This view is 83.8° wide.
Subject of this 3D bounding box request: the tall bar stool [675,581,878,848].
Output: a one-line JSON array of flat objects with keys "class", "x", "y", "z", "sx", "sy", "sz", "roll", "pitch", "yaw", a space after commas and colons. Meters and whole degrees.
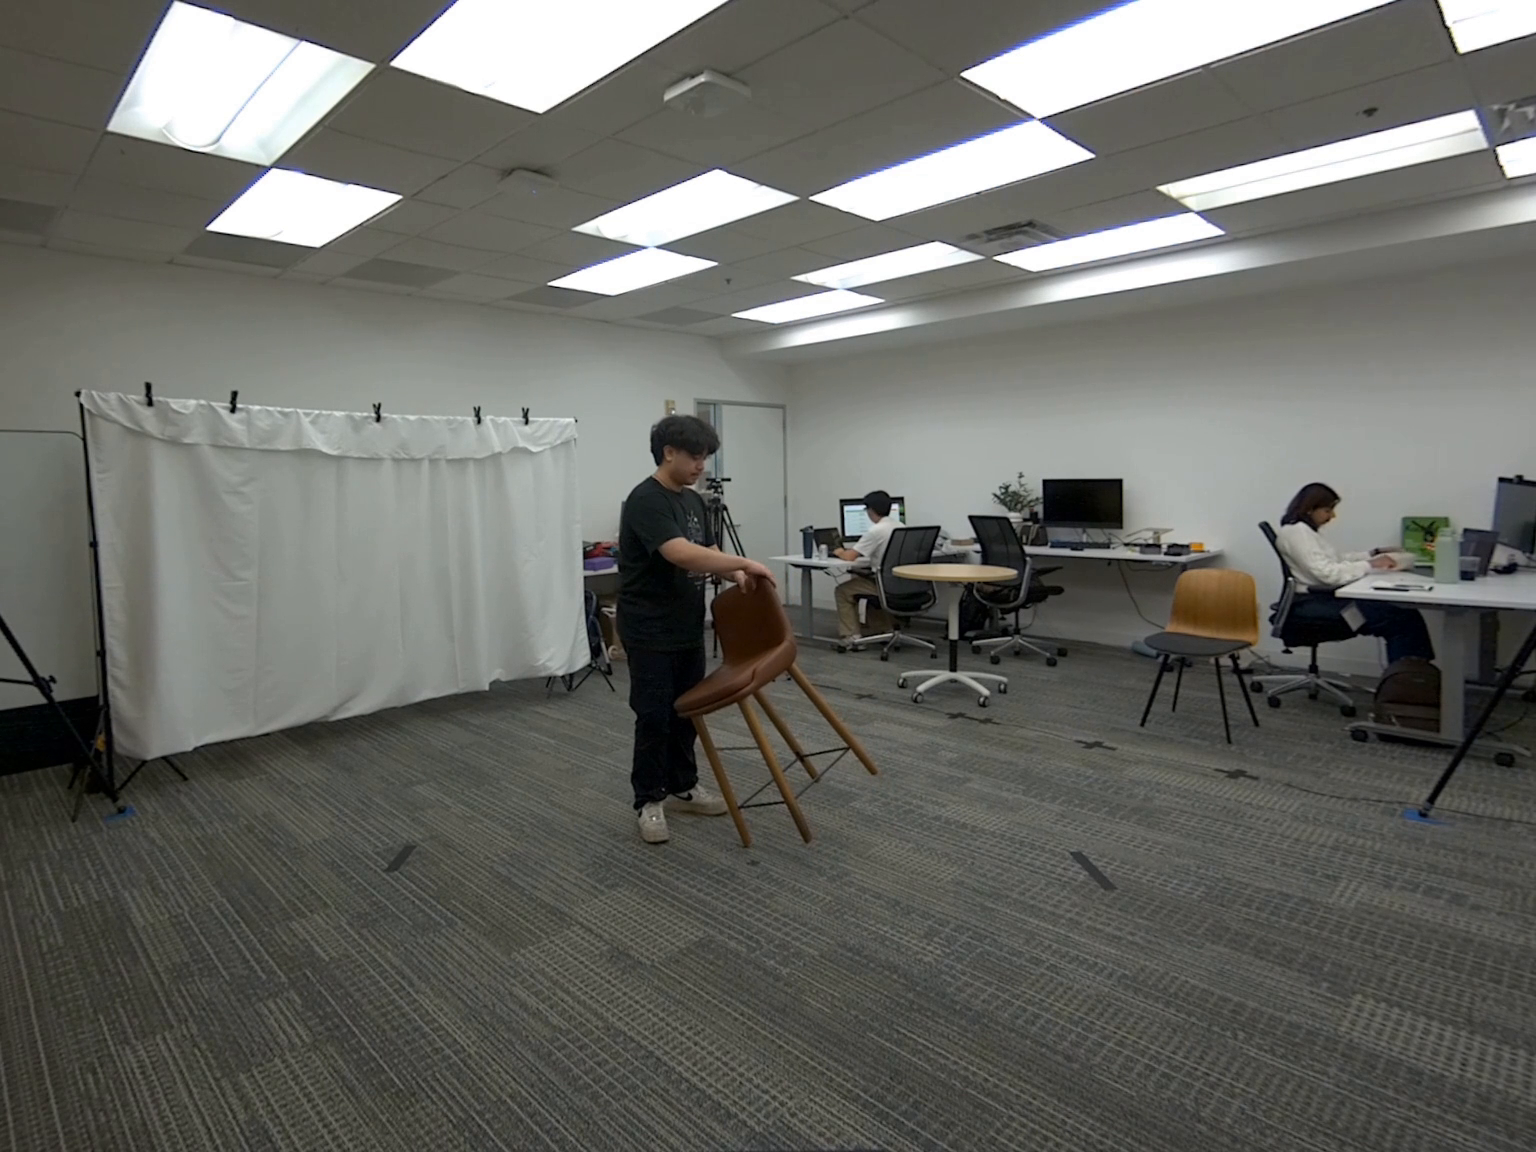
[{"class": "tall bar stool", "x": -0.031, "y": 0.502, "z": 3.236, "sx": 0.461, "sy": 0.891, "sz": 0.462, "roll": -27, "pitch": -1, "yaw": -39}]
